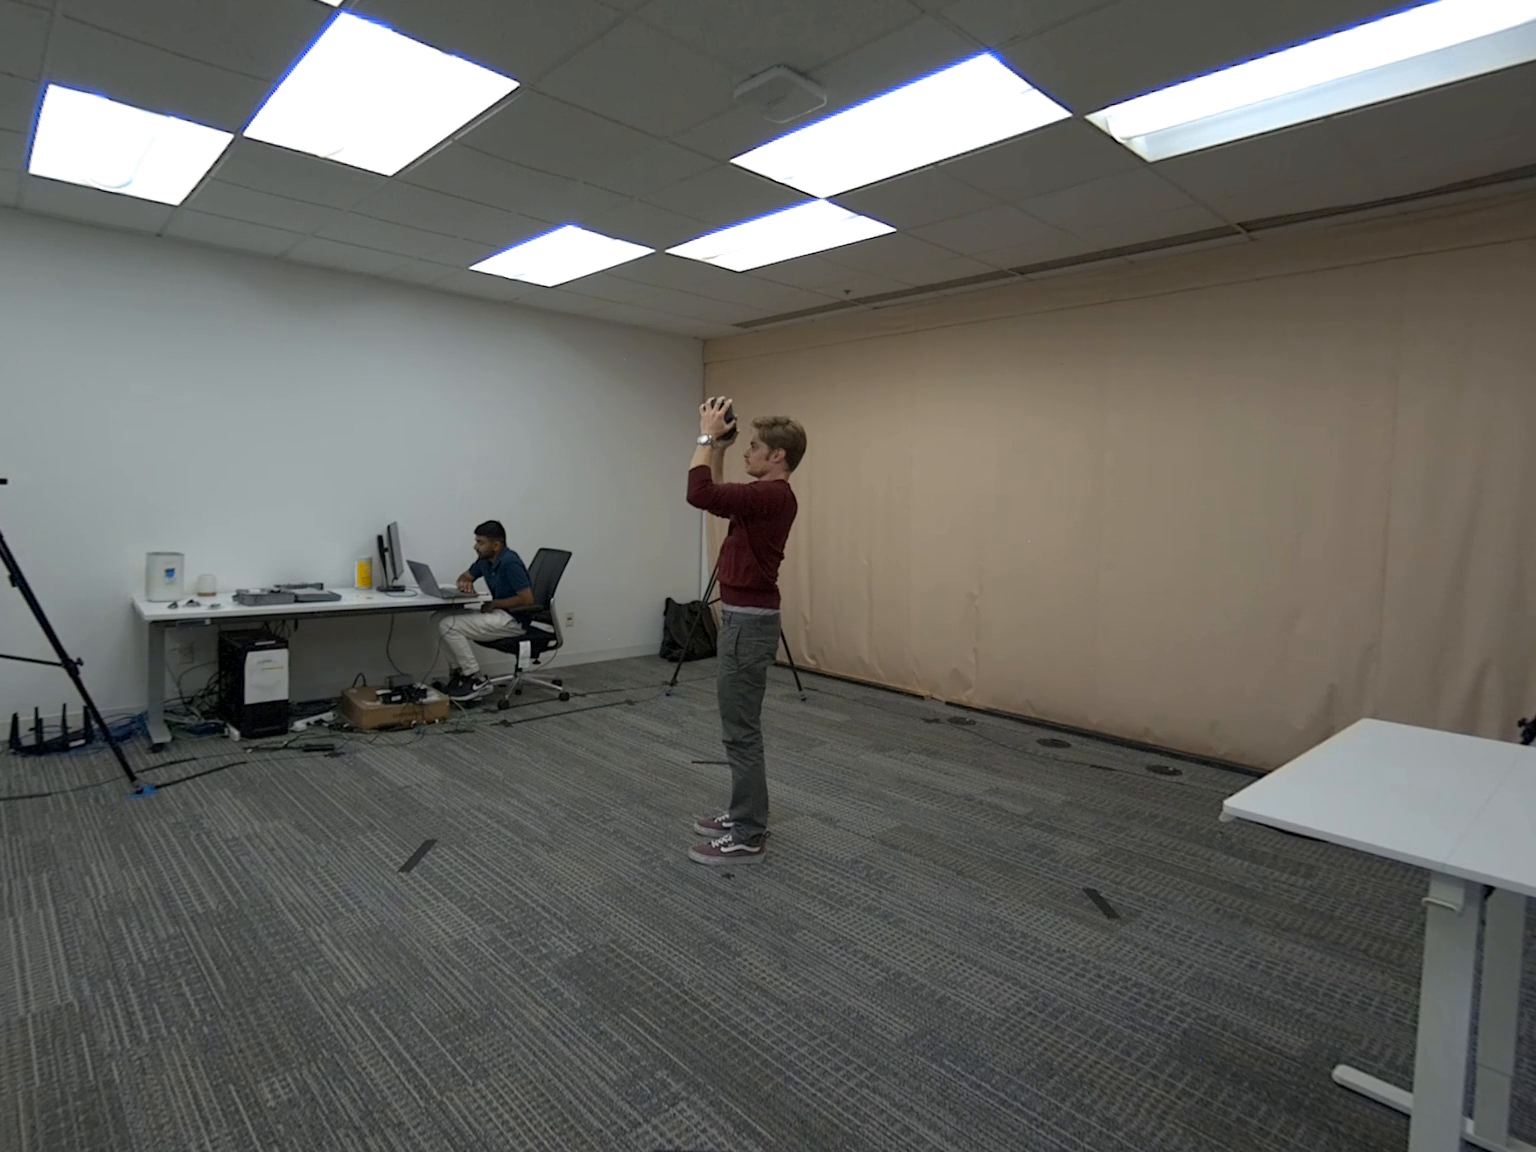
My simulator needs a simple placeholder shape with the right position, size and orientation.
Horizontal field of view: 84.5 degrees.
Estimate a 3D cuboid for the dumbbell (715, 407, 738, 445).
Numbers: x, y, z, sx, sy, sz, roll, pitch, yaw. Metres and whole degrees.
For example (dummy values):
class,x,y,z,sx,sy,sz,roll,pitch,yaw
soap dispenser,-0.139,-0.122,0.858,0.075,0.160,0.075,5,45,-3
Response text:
class,x,y,z,sx,sy,sz,roll,pitch,yaw
dumbbell,-0.193,-0.616,3.318,0.123,0.109,0.292,-40,-3,5
